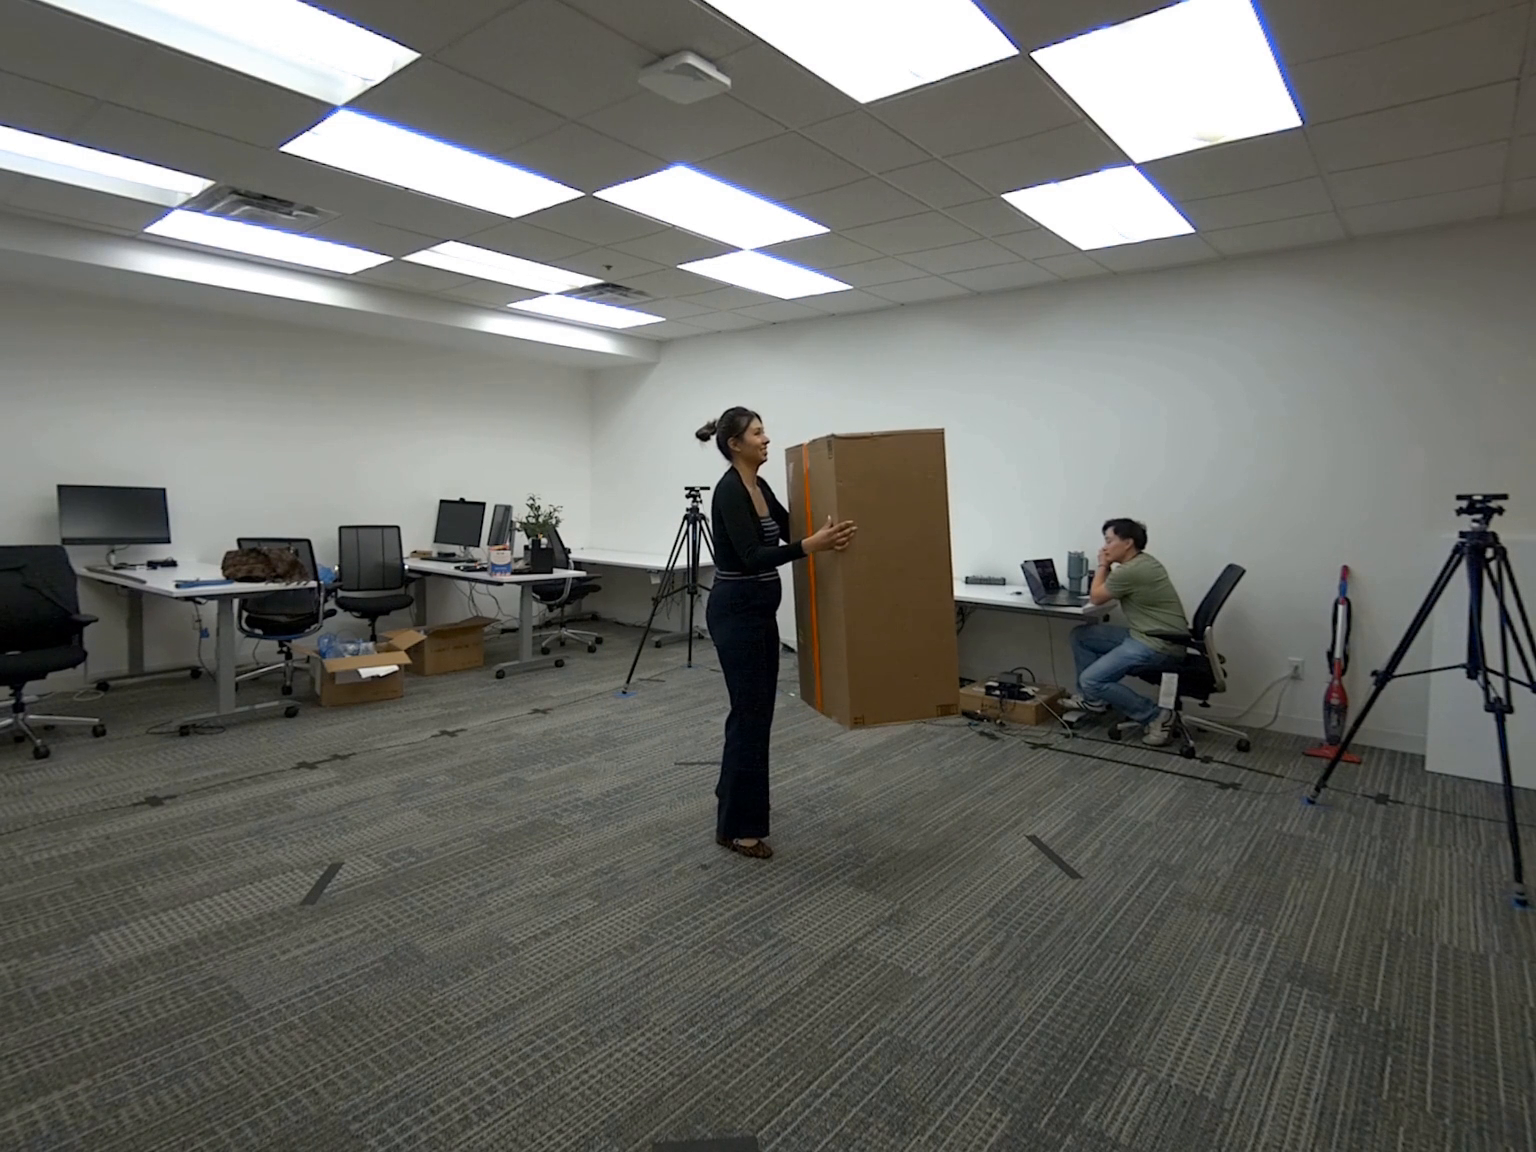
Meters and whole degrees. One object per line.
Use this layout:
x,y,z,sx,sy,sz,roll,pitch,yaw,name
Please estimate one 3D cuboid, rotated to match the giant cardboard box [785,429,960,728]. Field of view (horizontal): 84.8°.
0.374,-0.010,3.232,0.421,1.025,0.586,-4,2,-14,giant cardboard box
